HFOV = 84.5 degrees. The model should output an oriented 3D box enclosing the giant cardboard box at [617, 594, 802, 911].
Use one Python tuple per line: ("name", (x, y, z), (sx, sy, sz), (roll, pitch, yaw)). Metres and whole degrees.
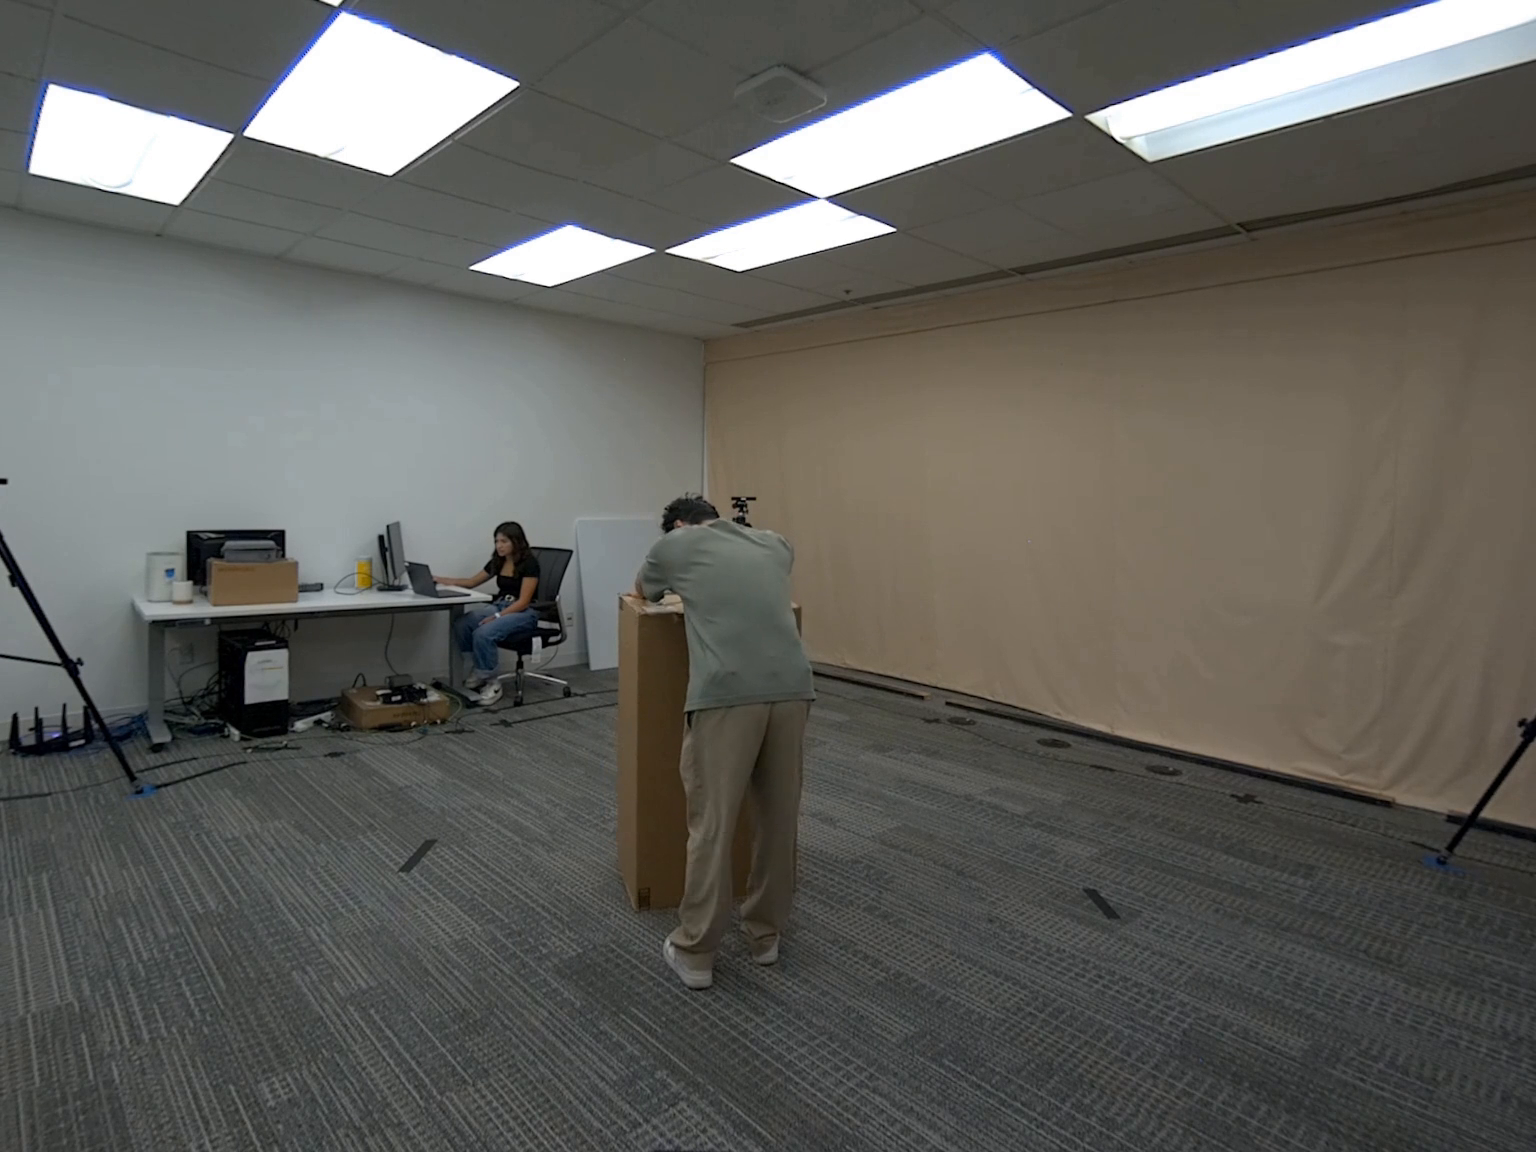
("giant cardboard box", (-0.232, 0.593, 3.053), (0.570, 1.022, 0.433), (-1, 5, -17))
